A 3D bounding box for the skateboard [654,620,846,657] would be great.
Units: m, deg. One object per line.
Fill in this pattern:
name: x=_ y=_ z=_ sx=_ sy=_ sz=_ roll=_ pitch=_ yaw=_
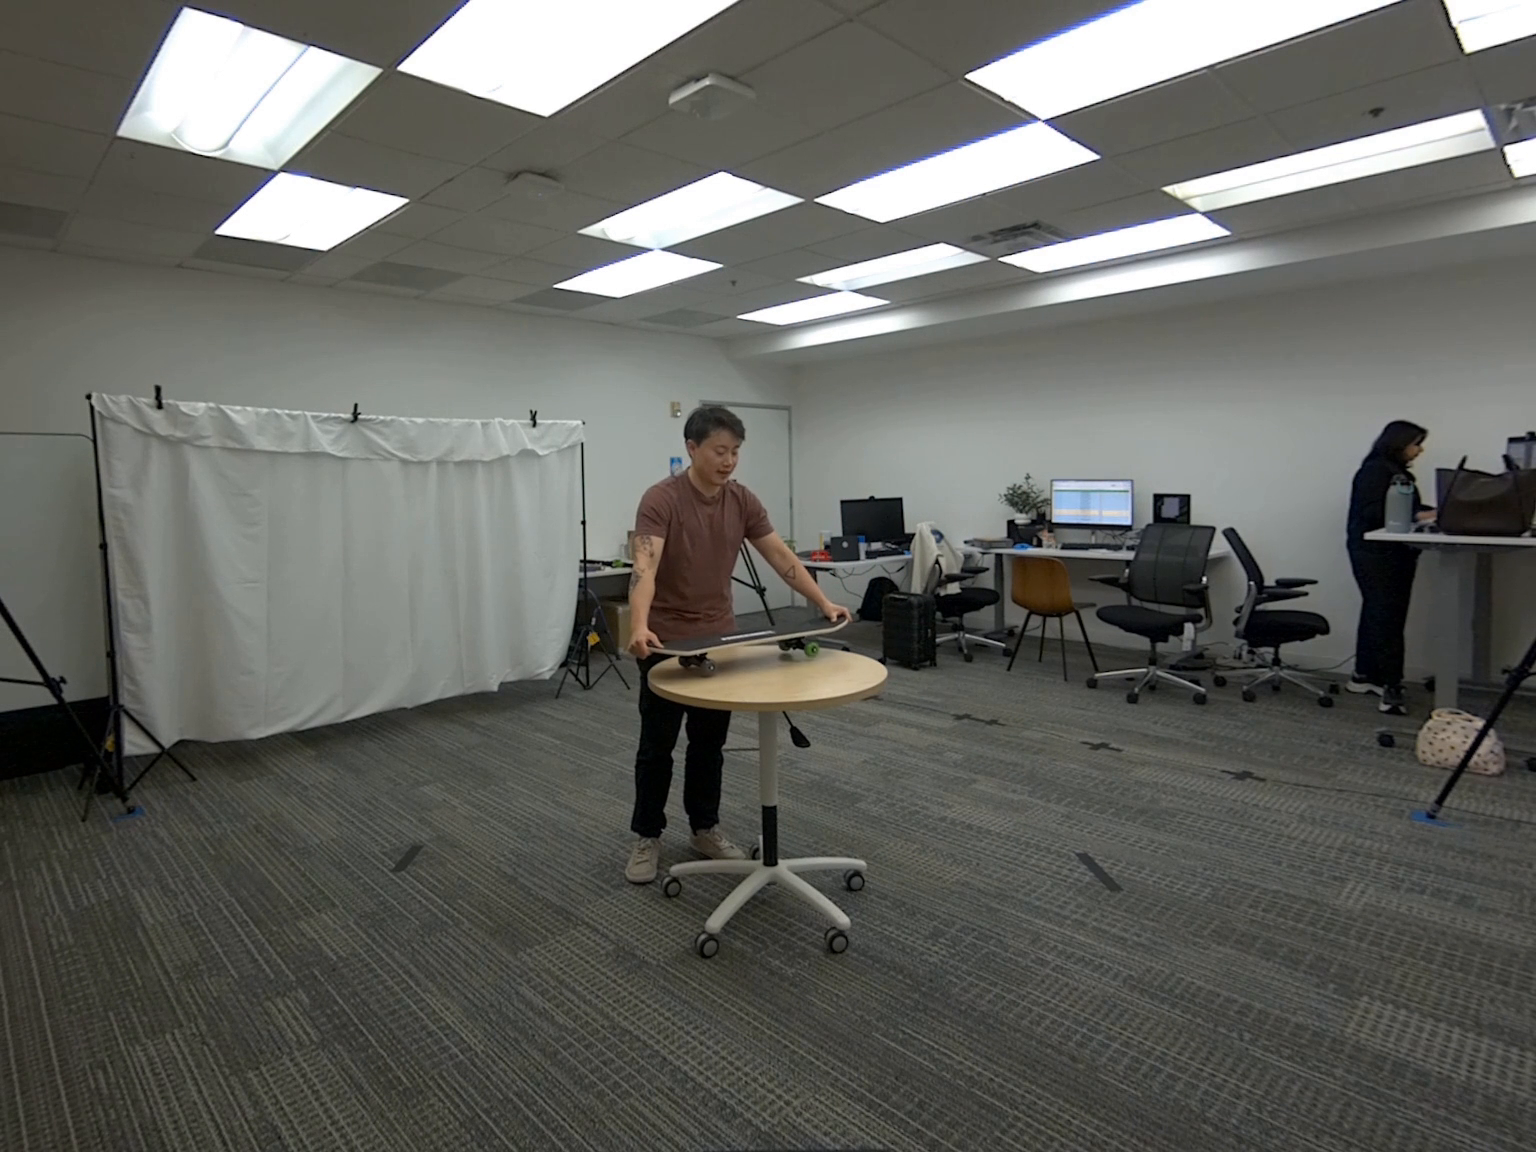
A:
skateboard: x=-0.063 y=0.229 z=2.847 sx=0.768 sy=0.110 sz=0.199 roll=-7 pitch=8 yaw=-29
